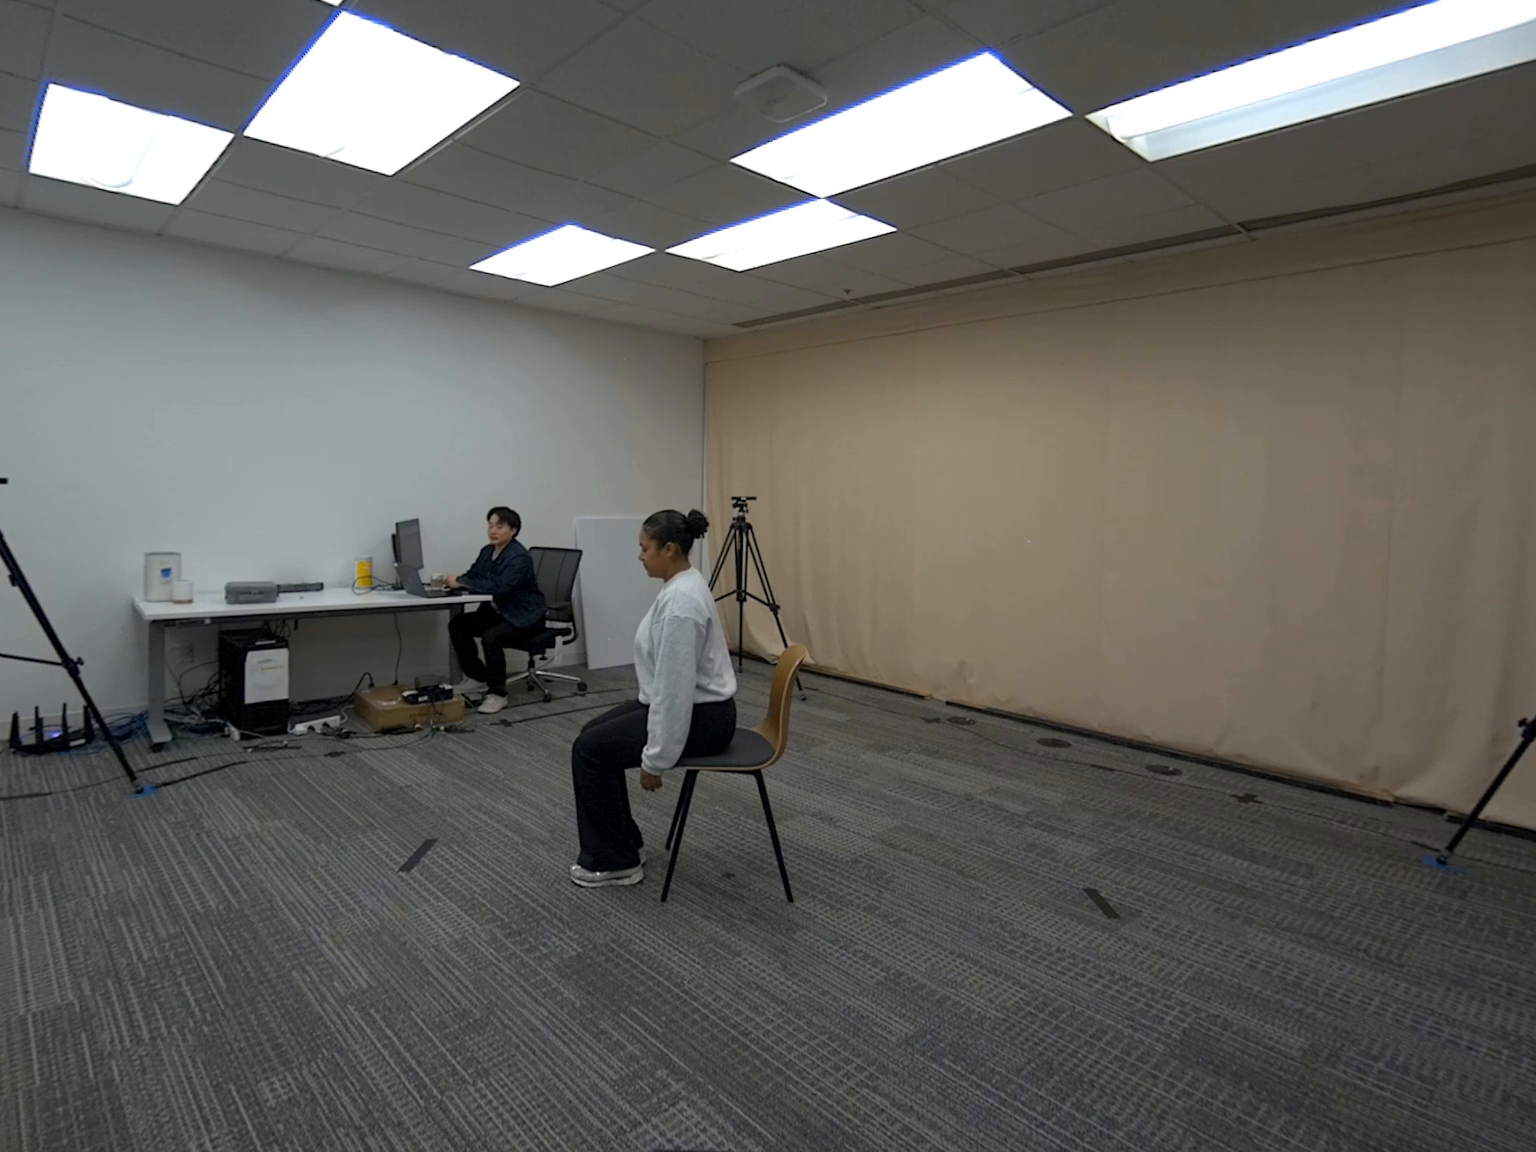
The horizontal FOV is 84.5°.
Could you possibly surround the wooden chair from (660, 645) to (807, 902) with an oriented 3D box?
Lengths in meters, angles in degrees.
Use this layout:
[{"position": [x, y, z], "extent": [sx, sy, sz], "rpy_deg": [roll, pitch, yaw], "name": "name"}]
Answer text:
[{"position": [-0.162, 0.679, 3.089], "extent": [0.521, 0.875, 0.481], "rpy_deg": [5, 3, -4], "name": "wooden chair"}]
